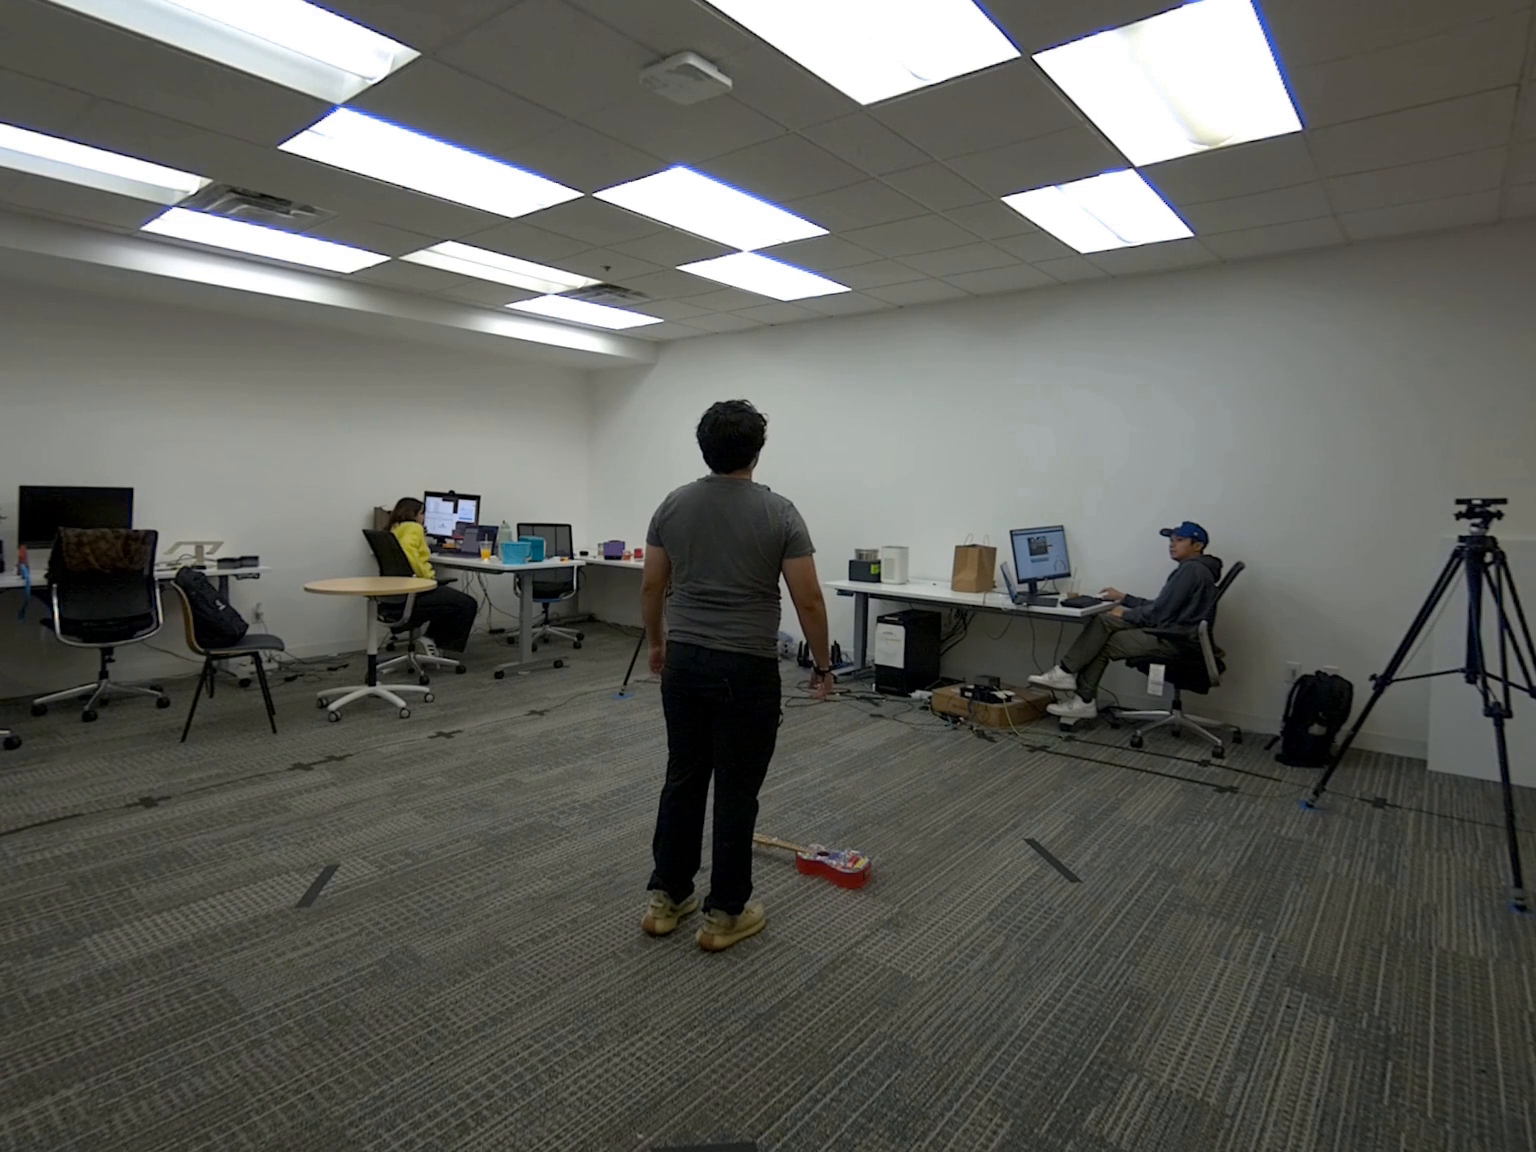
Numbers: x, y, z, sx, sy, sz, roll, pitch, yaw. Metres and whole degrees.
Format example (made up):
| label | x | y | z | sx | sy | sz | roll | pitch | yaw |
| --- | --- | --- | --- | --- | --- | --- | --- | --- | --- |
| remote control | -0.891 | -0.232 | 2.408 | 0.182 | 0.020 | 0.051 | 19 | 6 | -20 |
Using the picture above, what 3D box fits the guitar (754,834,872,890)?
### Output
| label | x | y | z | sx | sy | sz | roll | pitch | yaw |
| --- | --- | --- | --- | --- | --- | --- | --- | --- | --- |
| guitar | 0.143 | 1.037 | 3.186 | 0.514 | 0.070 | 0.187 | 6 | 7 | 36 |
